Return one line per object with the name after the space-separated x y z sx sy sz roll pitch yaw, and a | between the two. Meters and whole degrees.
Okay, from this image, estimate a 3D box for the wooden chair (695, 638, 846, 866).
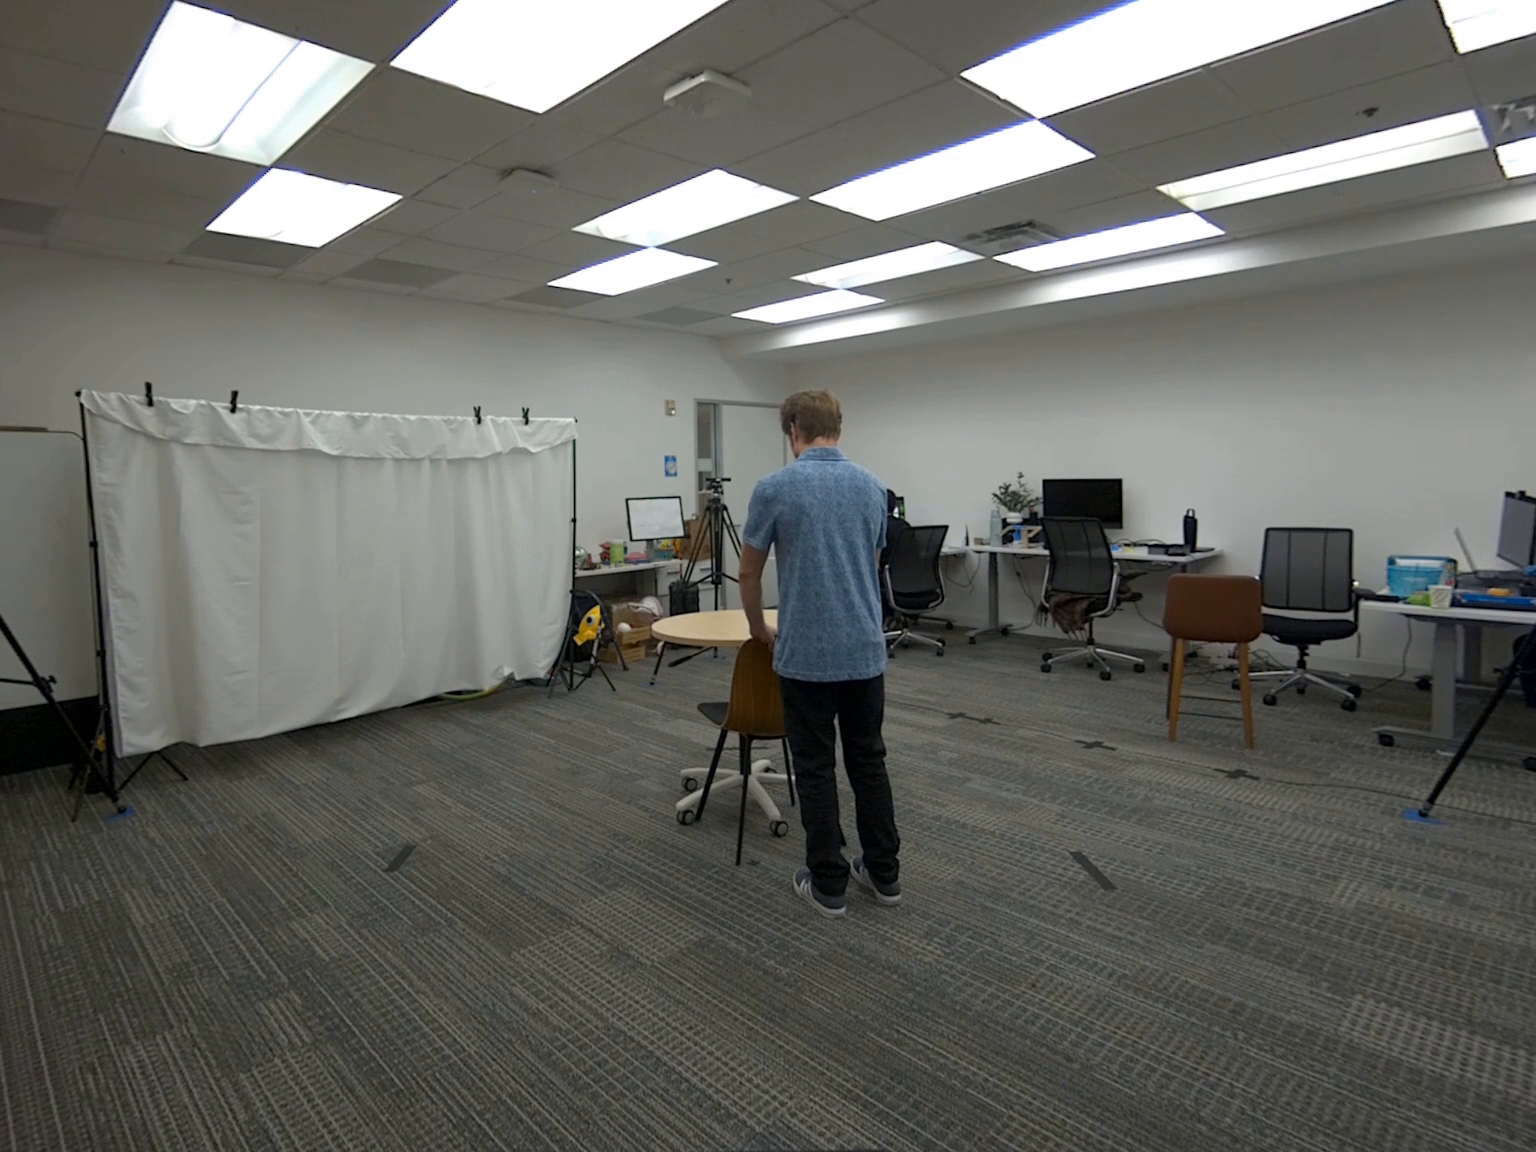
-0.008 0.587 3.340 0.469 0.871 0.537 -2 8 -23 | wooden chair
